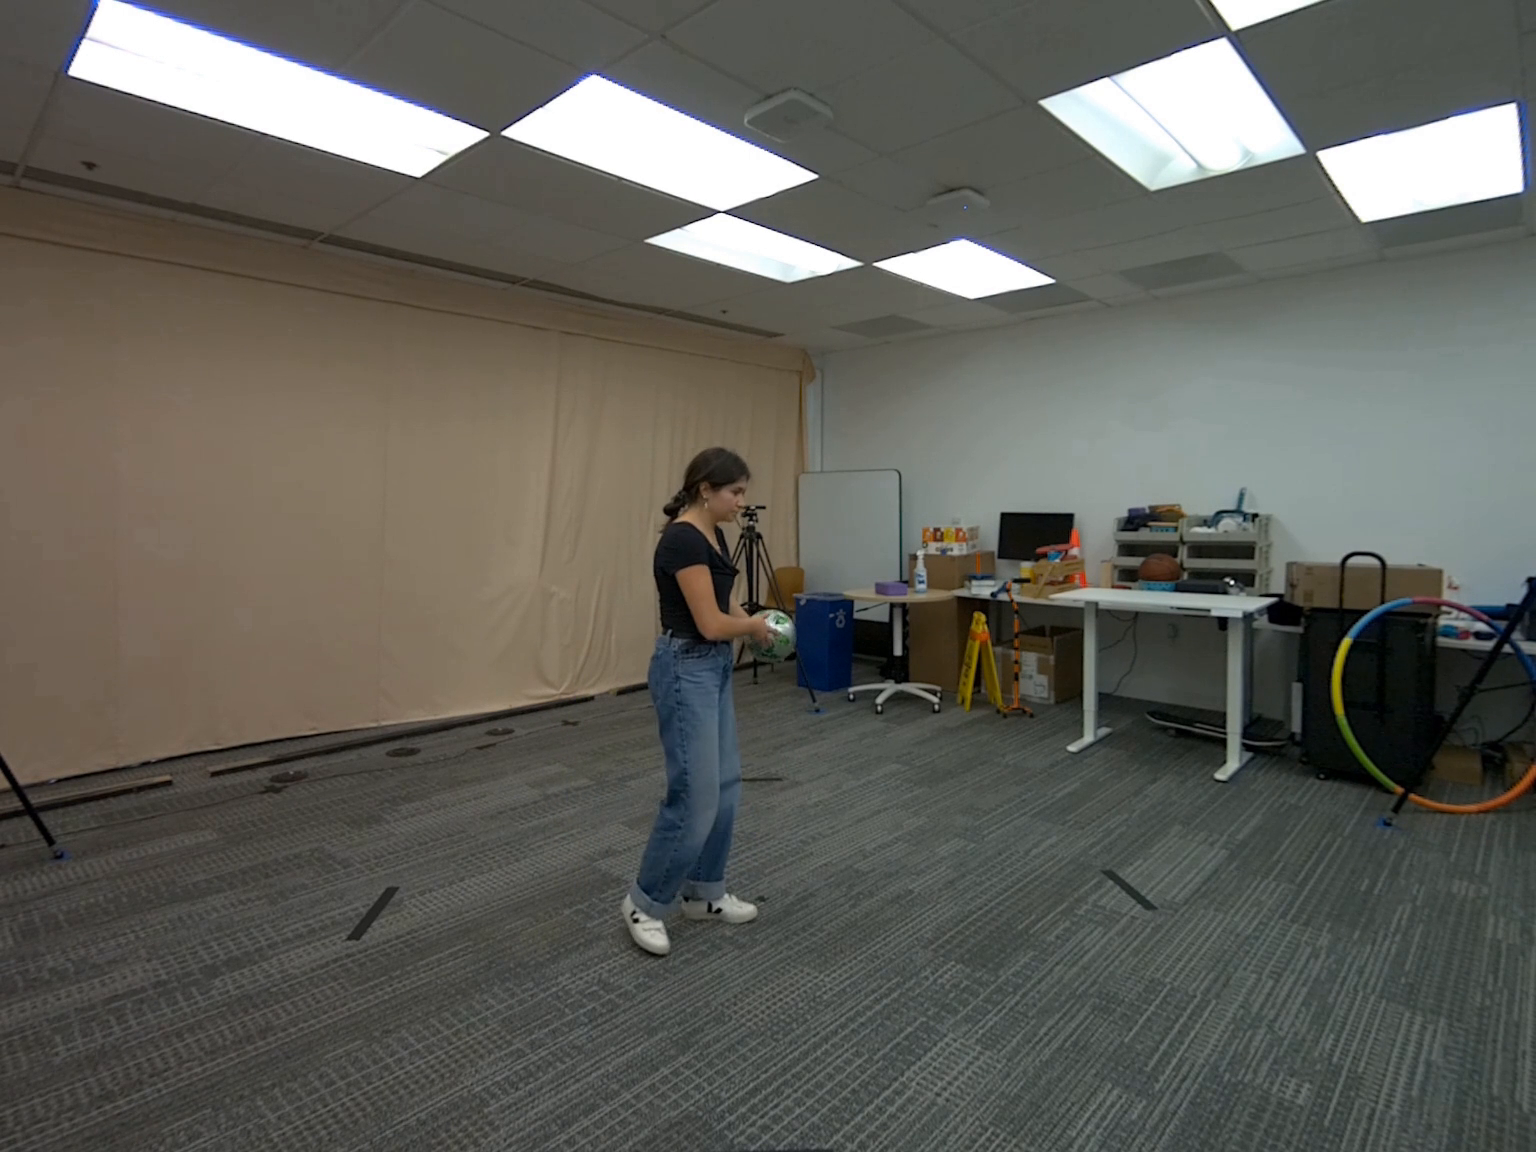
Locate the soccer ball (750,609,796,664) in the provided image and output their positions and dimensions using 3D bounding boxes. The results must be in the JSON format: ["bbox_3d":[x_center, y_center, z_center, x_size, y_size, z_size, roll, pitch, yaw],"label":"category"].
[{"bbox_3d":[0.000,0.219,2.976,0.187,0.187,0.188,0,4,-2],"label":"soccer ball"}]
